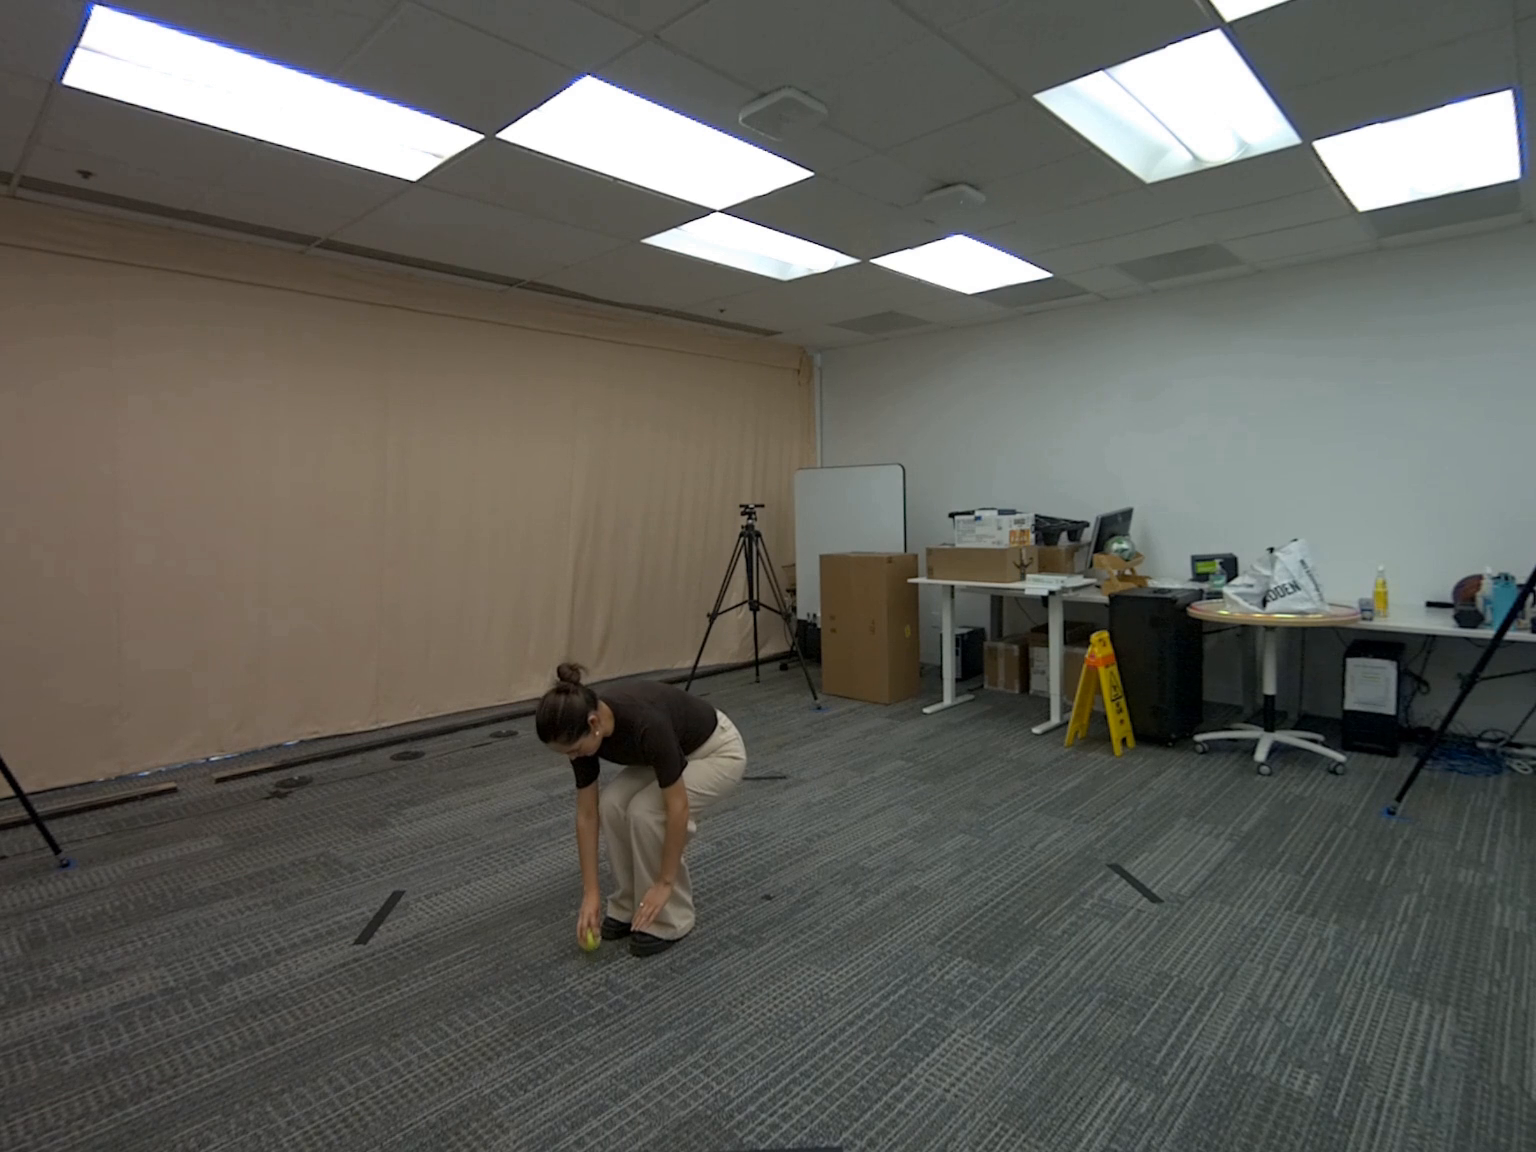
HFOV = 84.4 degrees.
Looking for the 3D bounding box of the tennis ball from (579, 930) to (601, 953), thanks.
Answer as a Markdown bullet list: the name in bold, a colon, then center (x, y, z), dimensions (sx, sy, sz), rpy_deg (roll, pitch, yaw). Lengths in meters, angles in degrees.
- **tennis ball**: center (-0.543, 1.105, 2.600), dimensions (0.066, 0.066, 0.067), rpy_deg (-1, 4, -2)
